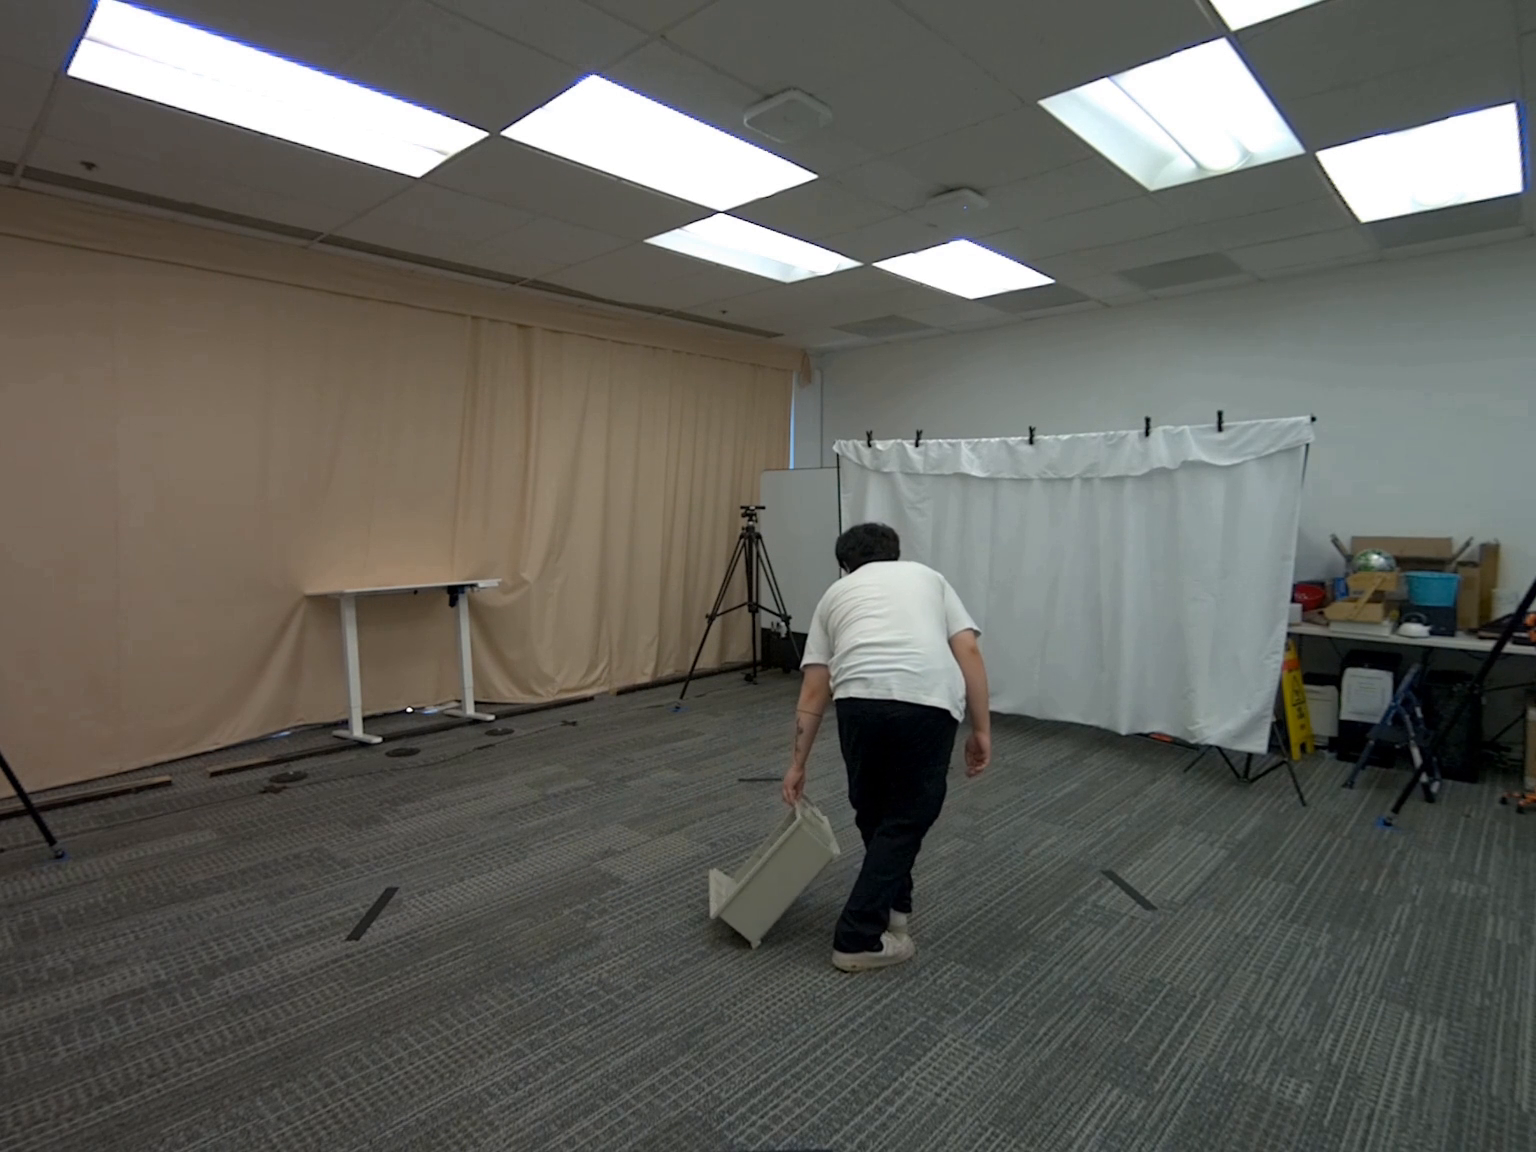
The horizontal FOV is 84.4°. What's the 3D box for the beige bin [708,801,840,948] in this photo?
[{"bbox_3d":[0.015,0.945,2.798,0.188,0.422,0.380,42,1,-7],"label":"beige bin"}]
